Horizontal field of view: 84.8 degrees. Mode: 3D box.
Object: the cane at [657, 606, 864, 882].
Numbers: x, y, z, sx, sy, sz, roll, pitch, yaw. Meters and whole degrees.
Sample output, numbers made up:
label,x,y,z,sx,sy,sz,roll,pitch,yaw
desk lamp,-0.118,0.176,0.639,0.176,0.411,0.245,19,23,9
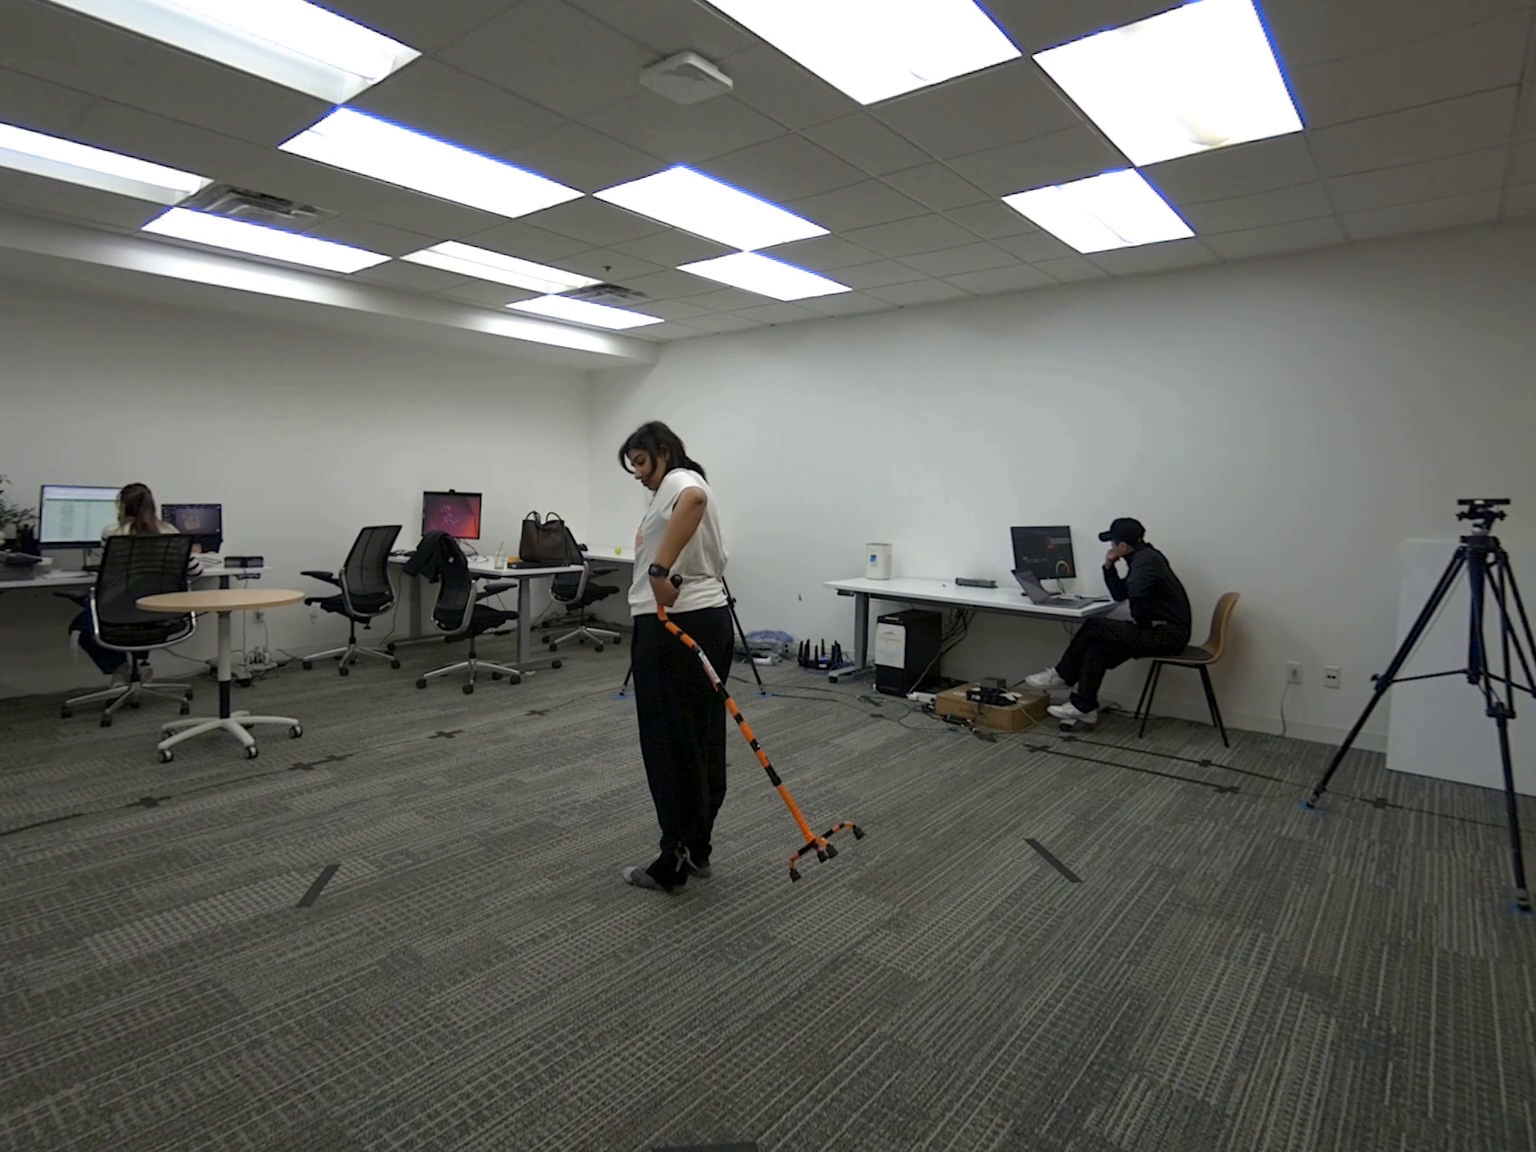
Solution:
label,x,y,z,sx,sy,sz,roll,pitch,yaw
cane,-0.083,0.423,2.481,0.148,0.931,0.206,-13,-26,-44
